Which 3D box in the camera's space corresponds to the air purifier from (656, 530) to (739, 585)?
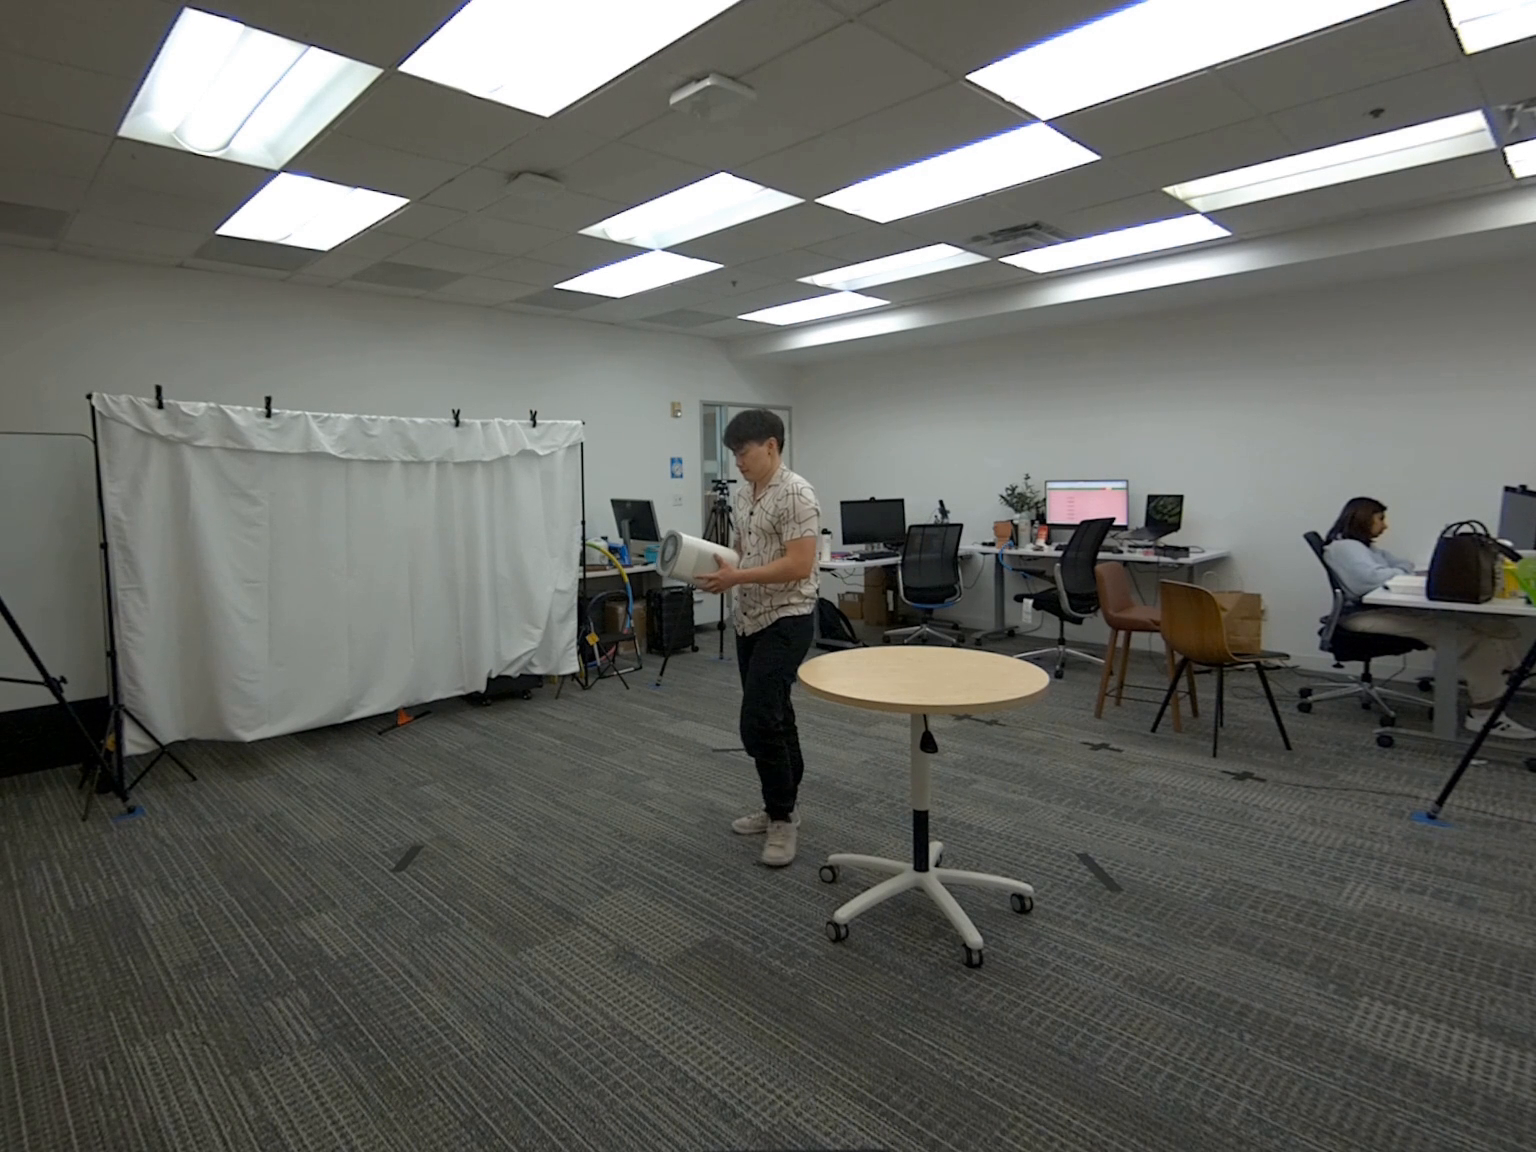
[{"bbox_3d":[-0.257,-0.053,3.191,0.257,0.171,0.176,18,4,-28],"label":"air purifier"}]
